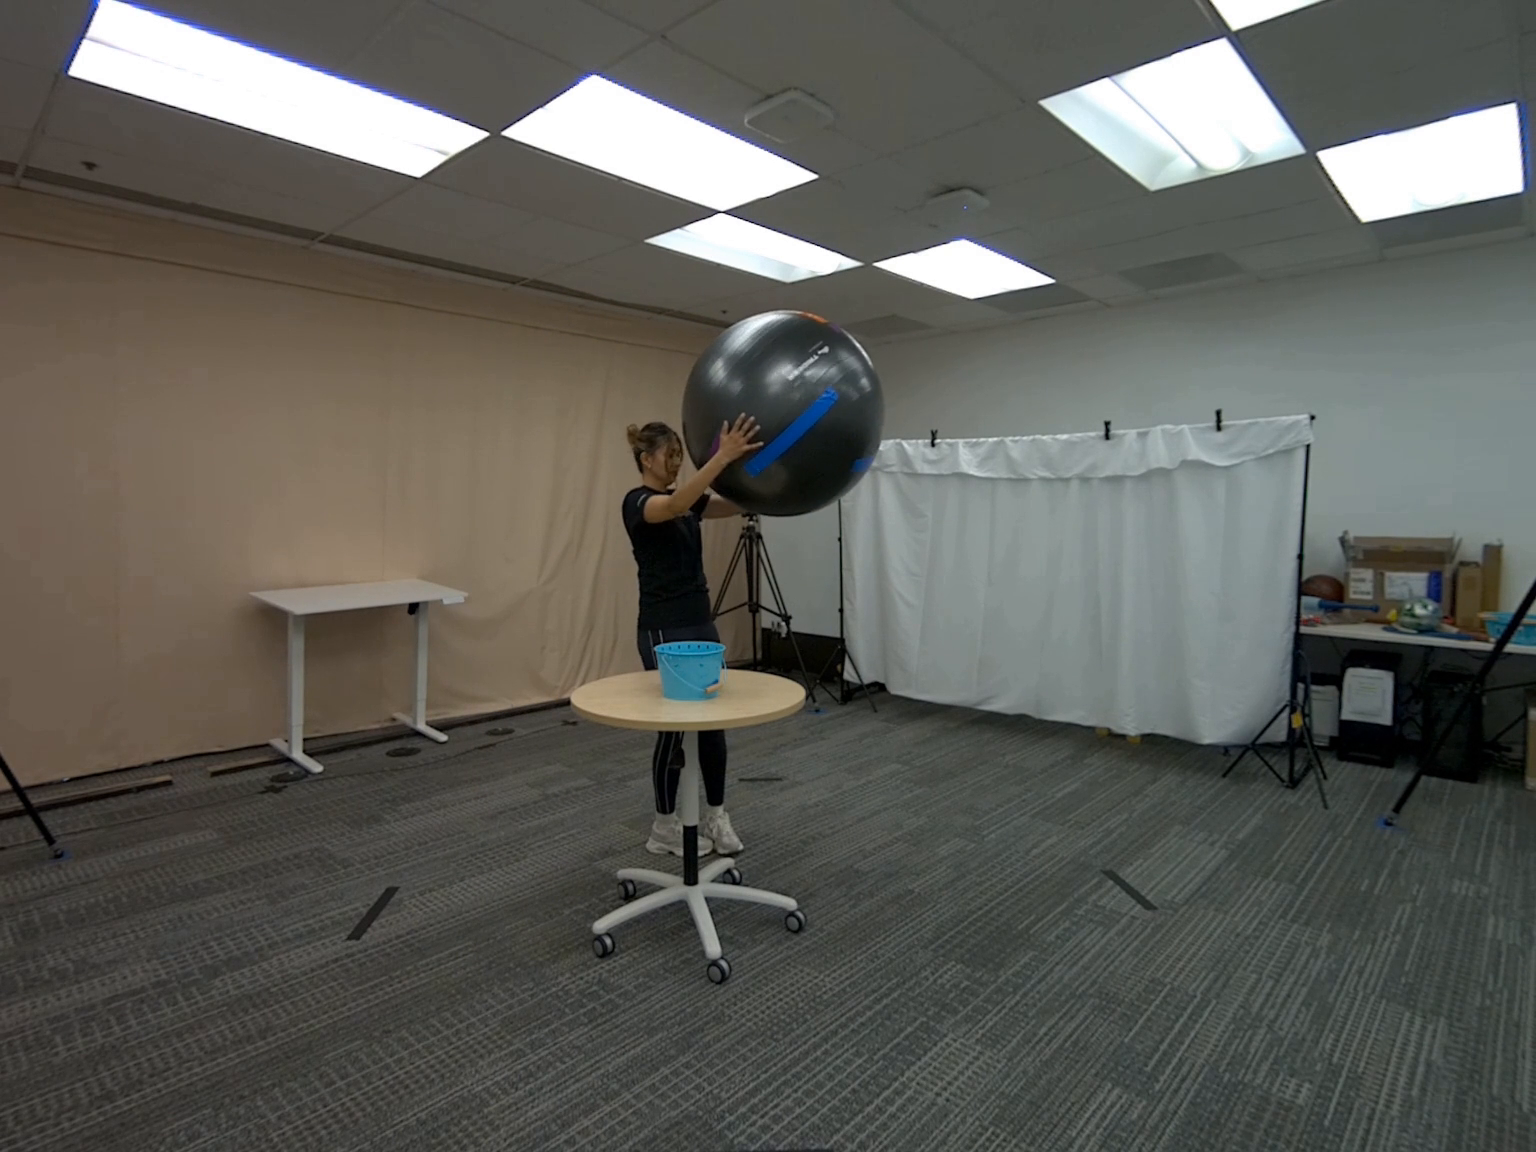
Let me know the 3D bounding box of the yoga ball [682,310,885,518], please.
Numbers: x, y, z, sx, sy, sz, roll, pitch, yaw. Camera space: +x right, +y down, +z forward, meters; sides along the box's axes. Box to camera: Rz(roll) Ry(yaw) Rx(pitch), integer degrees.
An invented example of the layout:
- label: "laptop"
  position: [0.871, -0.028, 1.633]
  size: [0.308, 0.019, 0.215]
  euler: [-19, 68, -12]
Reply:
- label: "yoga ball"
  position: [0.052, -0.593, 3.156]
  size: [0.757, 0.756, 0.761]
  euler: [0, 4, -2]
